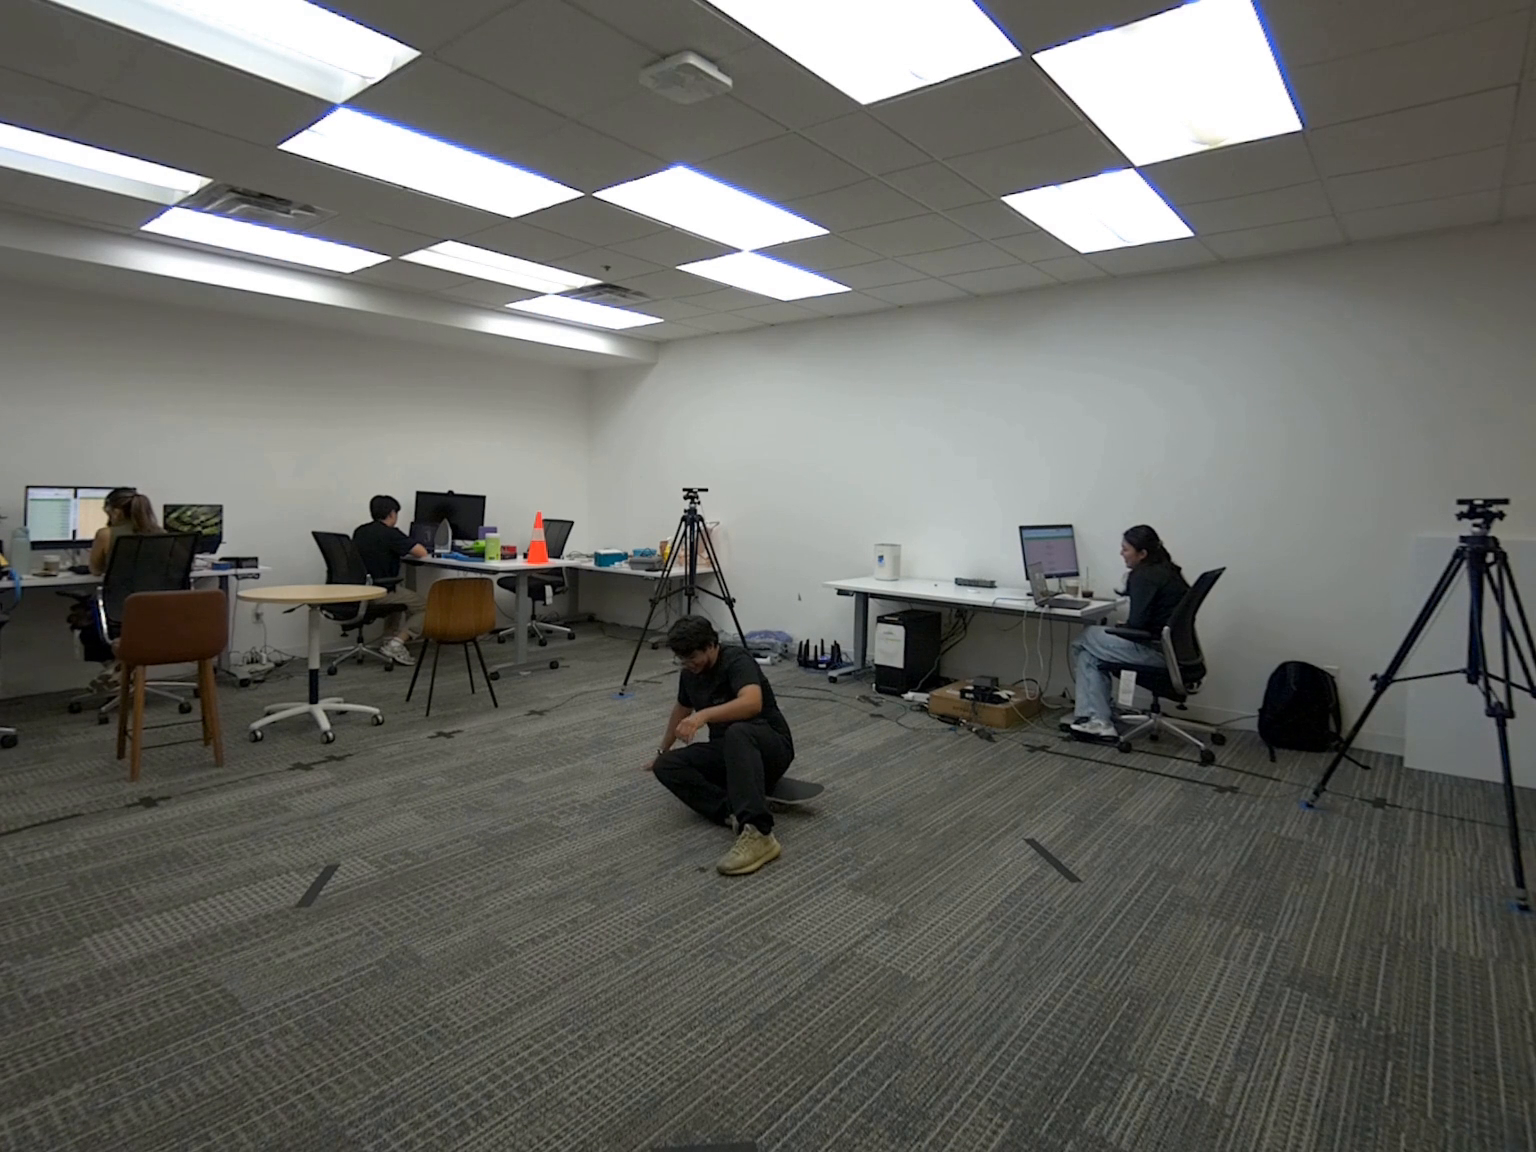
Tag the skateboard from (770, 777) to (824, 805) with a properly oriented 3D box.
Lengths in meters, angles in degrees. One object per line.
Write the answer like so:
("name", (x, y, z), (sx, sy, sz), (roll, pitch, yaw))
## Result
("skateboard", (-0.121, 0.938, 3.844), (0.809, 0.109, 0.190), (4, 15, 32))
